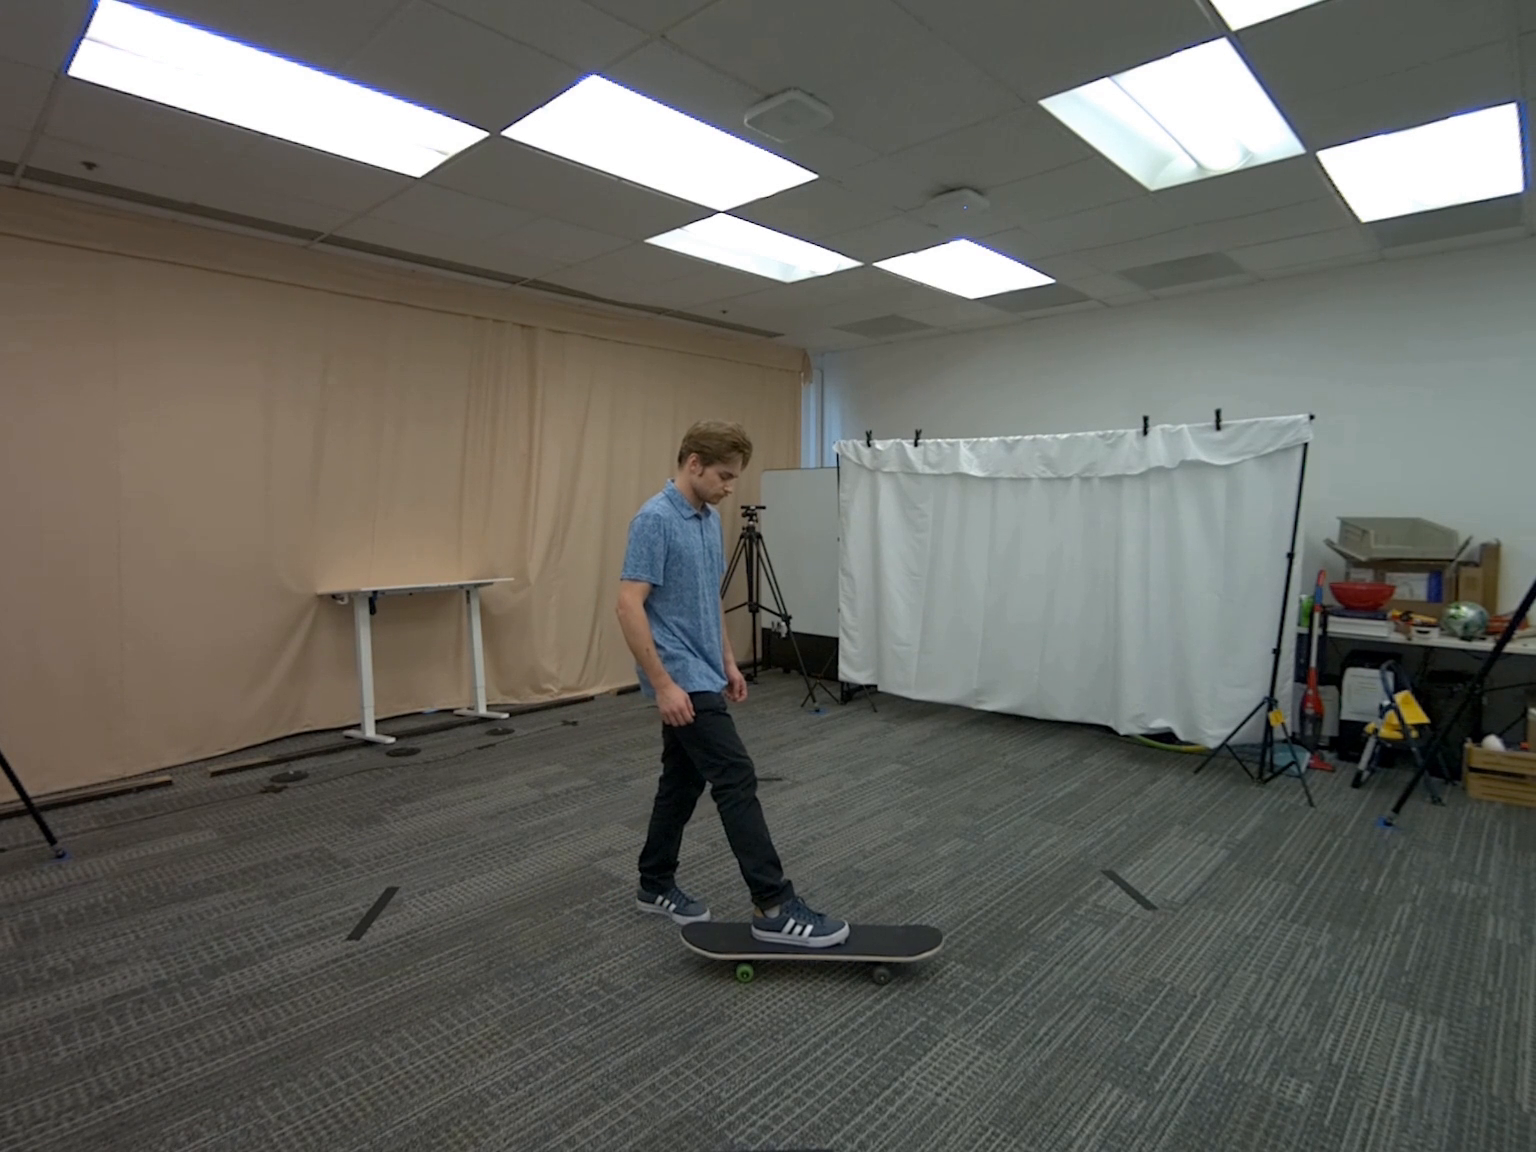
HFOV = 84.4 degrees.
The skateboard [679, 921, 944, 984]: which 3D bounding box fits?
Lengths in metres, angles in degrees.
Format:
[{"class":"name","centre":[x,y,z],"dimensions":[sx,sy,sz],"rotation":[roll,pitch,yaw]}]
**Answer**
[{"class":"skateboard","centre":[0.129,1.123,2.536],"dimensions":[0.787,0.110,0.193],"rotation":[0,2,2]}]
